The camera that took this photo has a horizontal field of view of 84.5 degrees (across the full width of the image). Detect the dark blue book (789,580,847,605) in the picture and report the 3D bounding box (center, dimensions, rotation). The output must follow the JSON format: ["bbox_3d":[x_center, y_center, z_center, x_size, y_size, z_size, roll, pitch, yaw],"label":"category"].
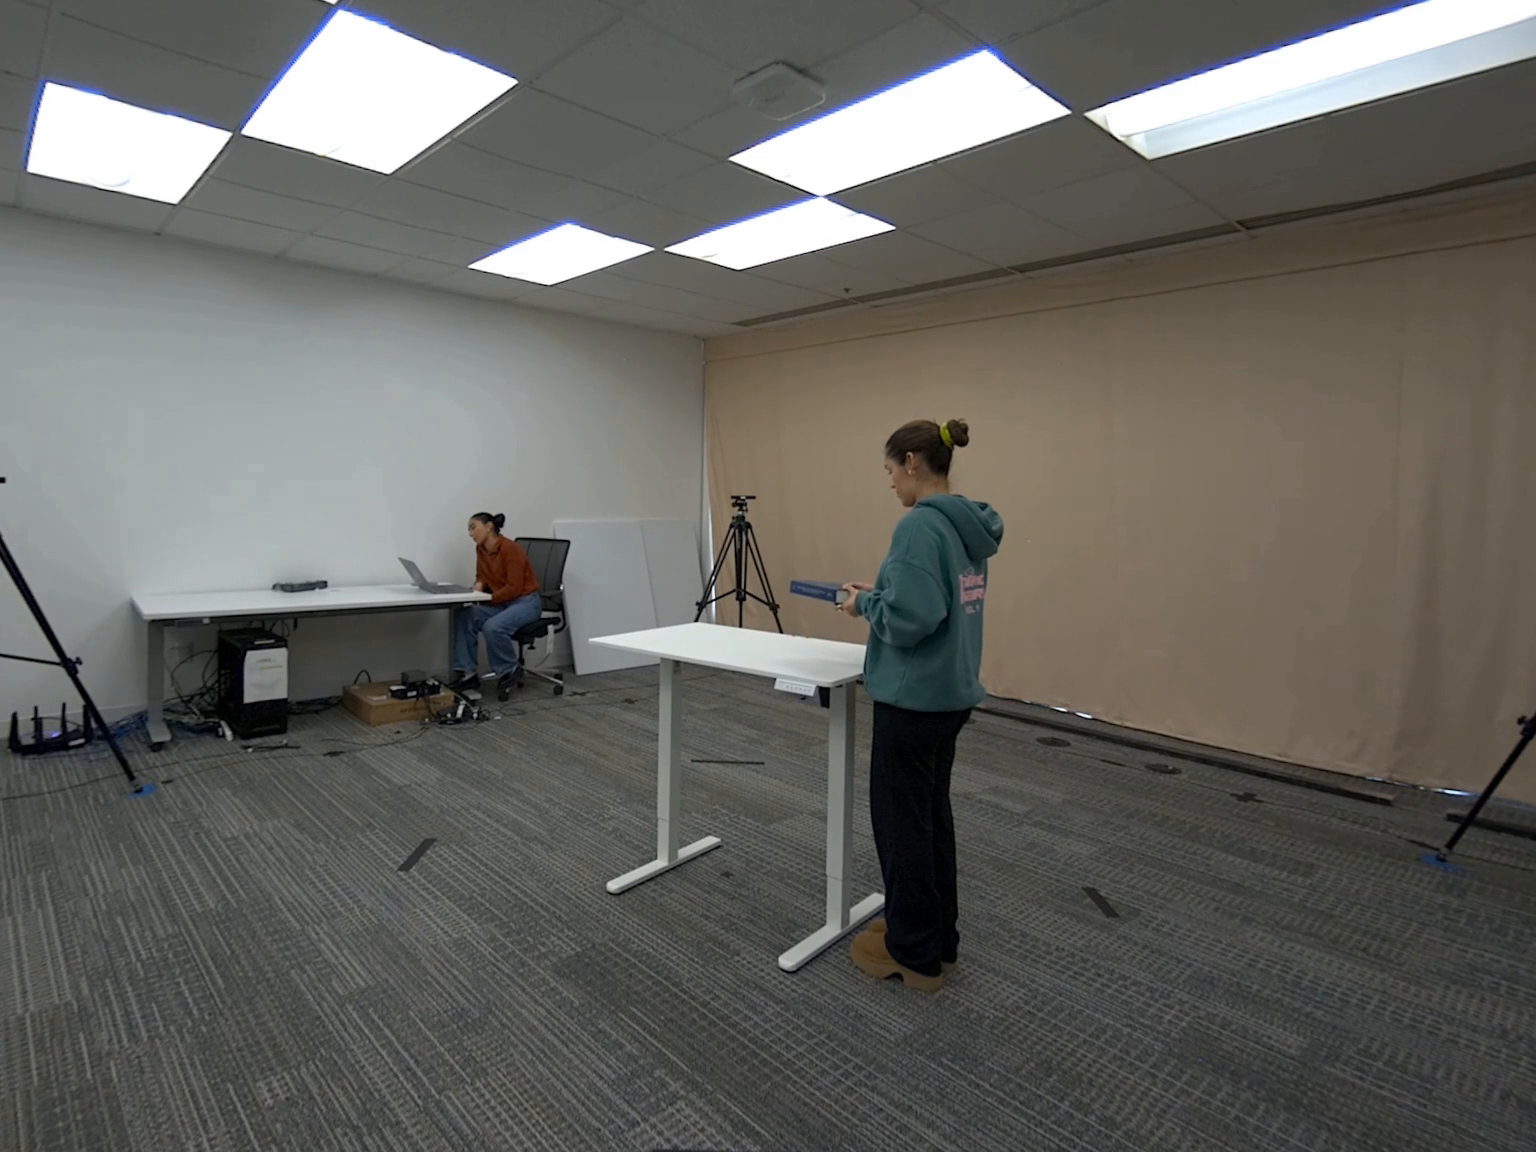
[{"bbox_3d":[0.199,0.053,2.616,0.159,0.045,0.251,3,4,-35],"label":"dark blue book"}]
